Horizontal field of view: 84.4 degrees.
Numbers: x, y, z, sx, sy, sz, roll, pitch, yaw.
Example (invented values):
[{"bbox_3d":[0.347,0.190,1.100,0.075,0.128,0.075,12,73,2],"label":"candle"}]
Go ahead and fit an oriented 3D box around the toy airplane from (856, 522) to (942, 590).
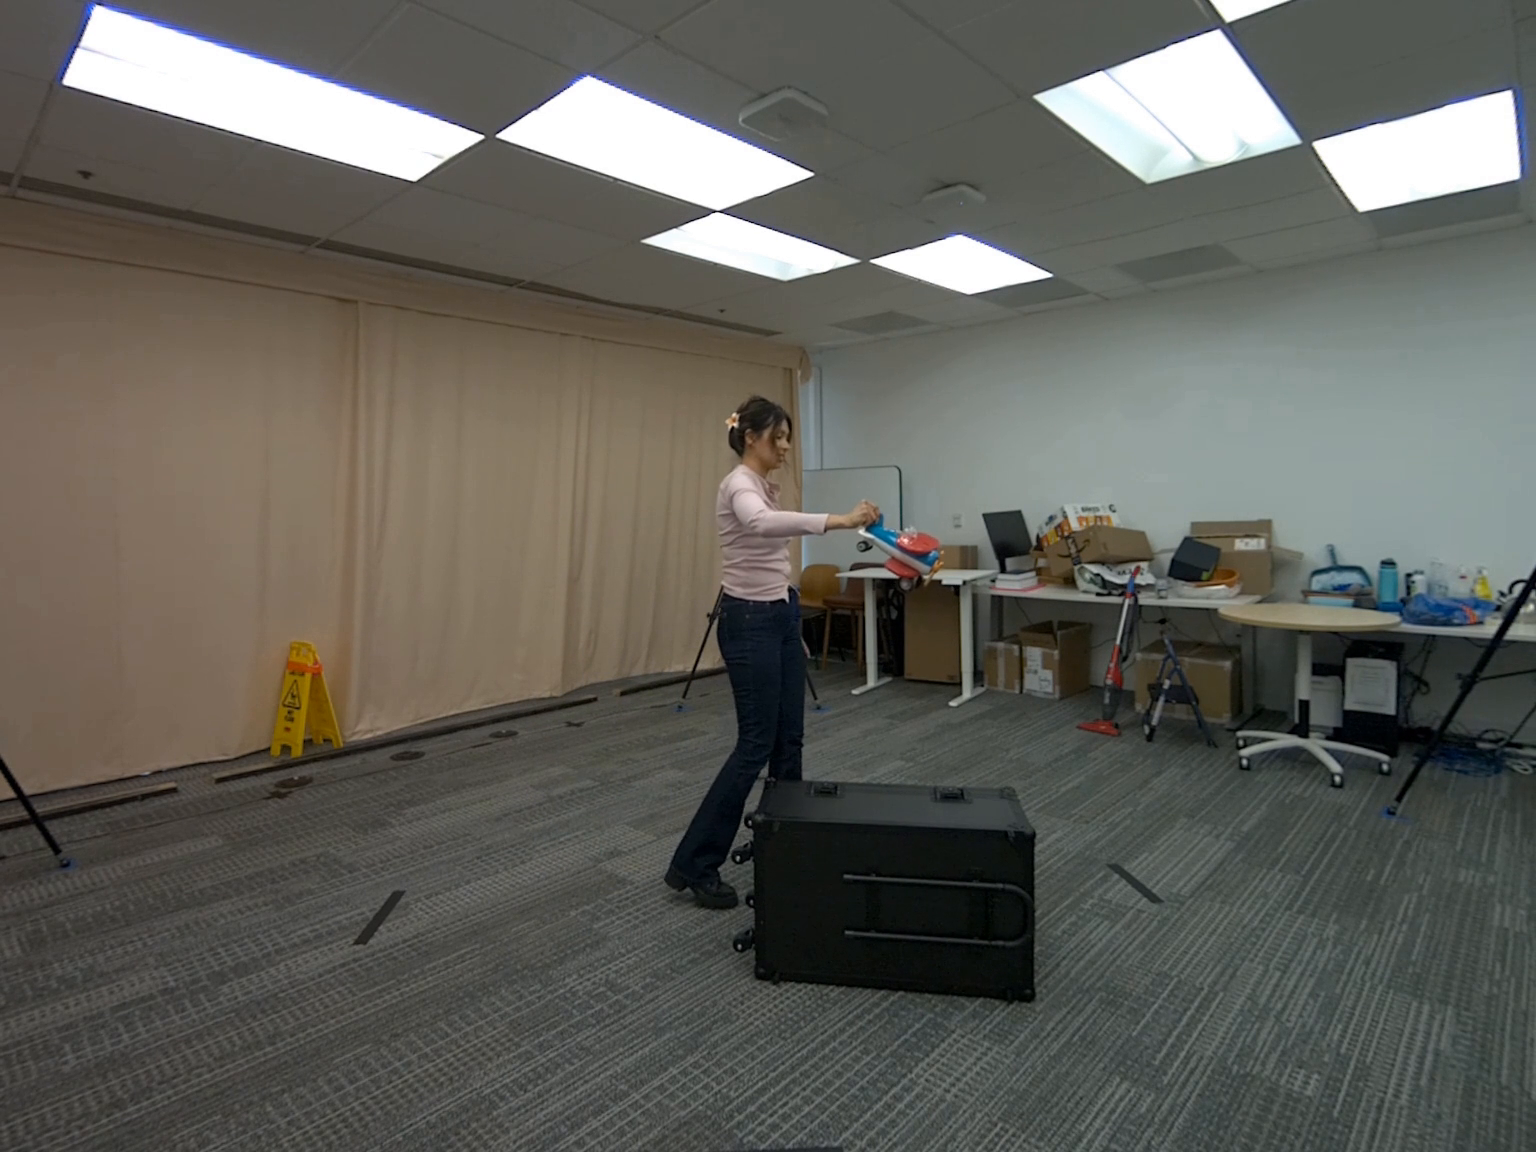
[{"bbox_3d":[0.398,-0.069,2.517,0.257,0.157,0.253,33,25,-9],"label":"toy airplane"}]
